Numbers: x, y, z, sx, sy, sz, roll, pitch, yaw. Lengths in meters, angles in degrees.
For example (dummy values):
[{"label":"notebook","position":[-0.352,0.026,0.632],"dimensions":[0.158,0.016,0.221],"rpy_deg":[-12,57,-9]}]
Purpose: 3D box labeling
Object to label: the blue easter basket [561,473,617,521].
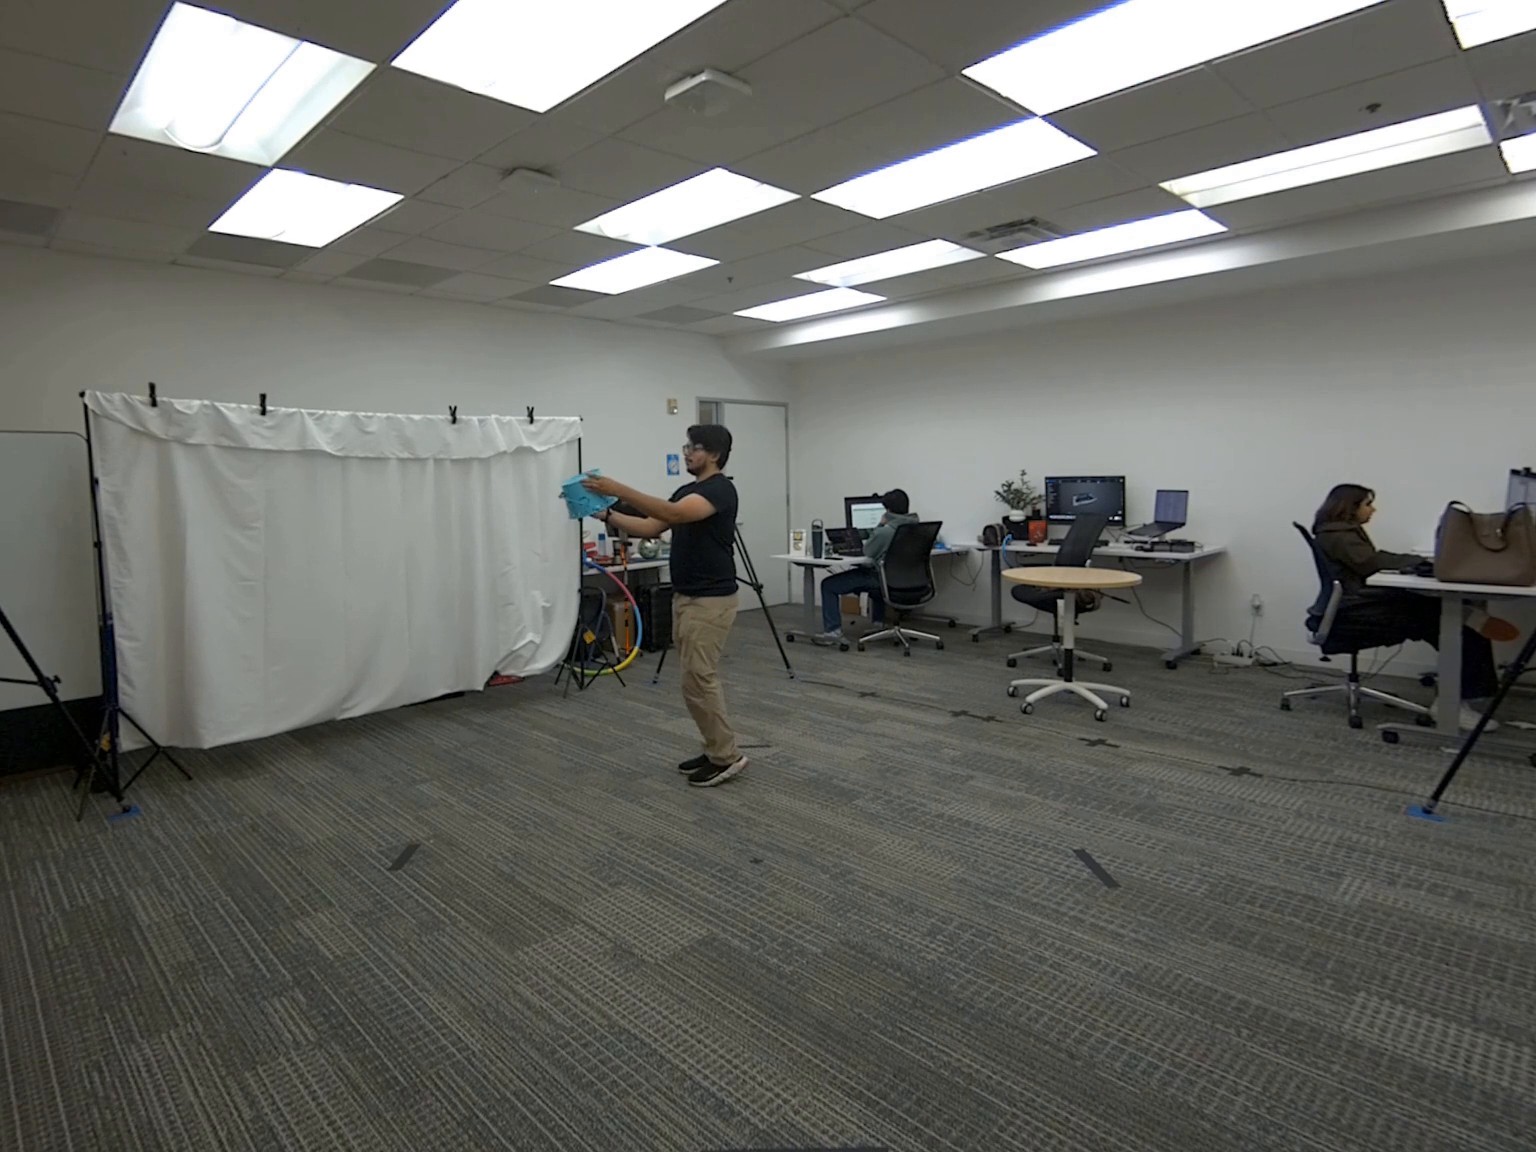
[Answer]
[{"label":"blue easter basket","position":[-0.813,-0.365,3.796],"dimensions":[0.244,0.152,0.248],"rpy_deg":[-18,20,5]}]
